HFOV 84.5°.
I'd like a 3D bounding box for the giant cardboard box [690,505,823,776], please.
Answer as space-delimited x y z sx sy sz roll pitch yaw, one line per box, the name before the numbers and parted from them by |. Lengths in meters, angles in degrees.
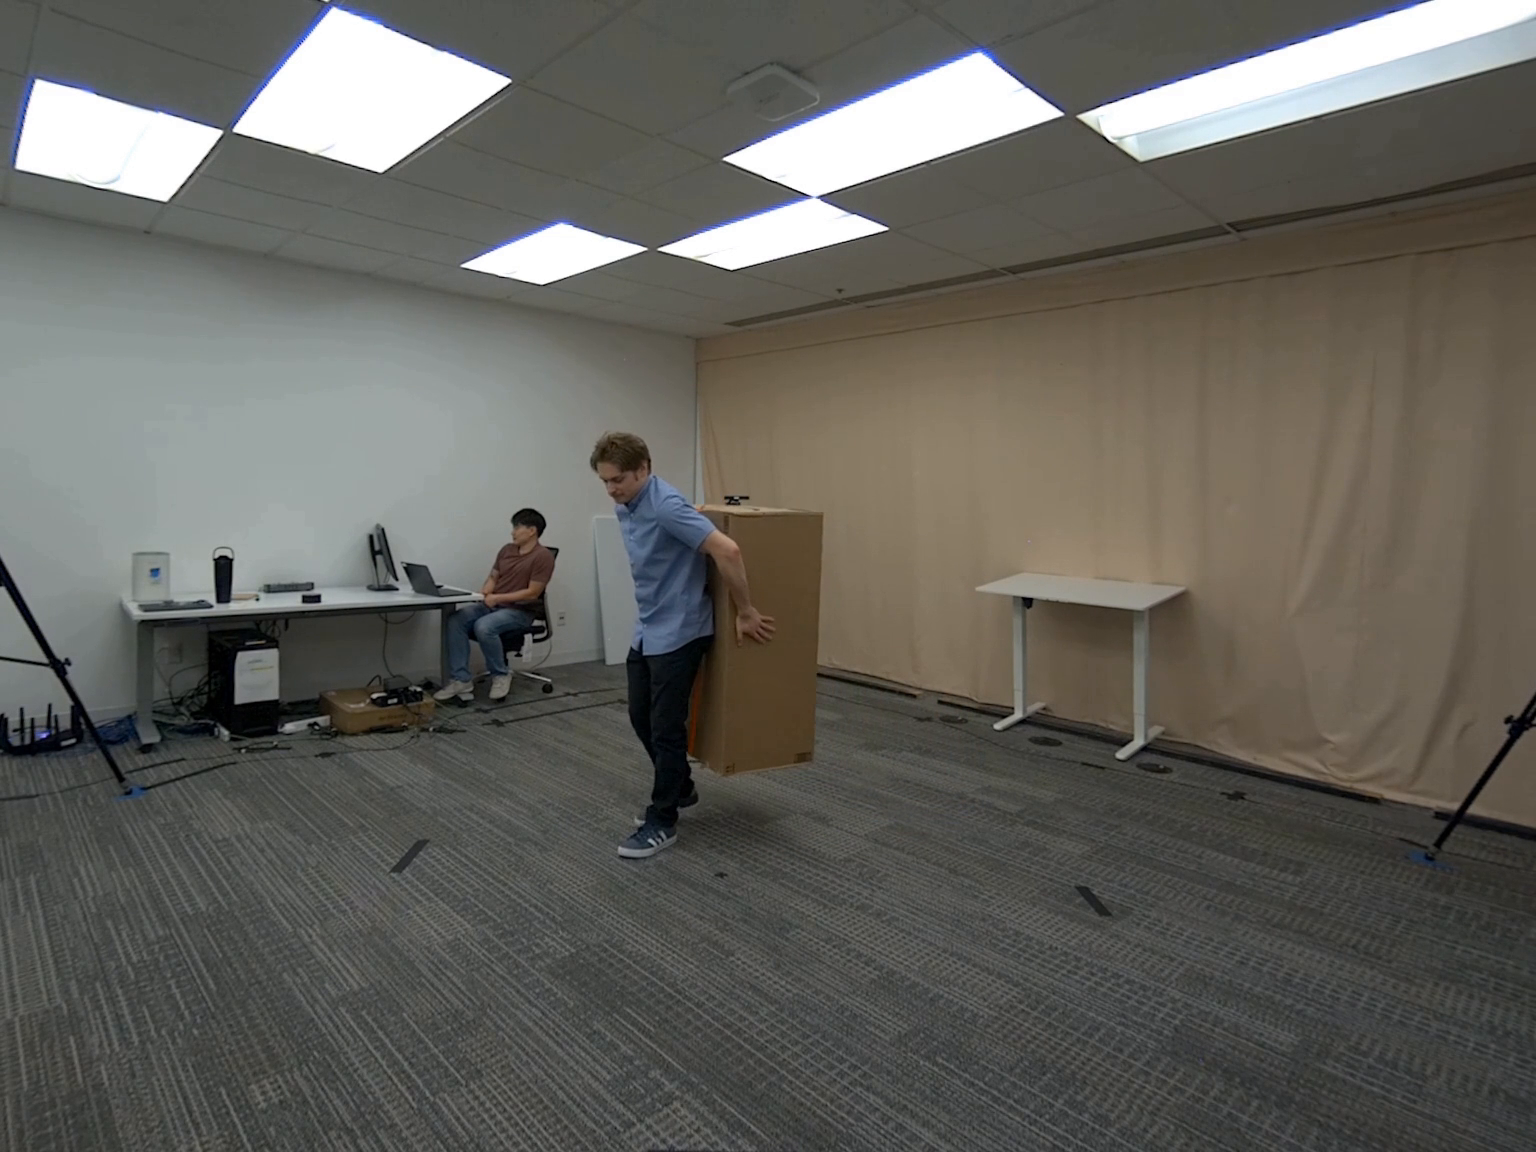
giant cardboard box | -0.125 0.233 3.527 0.438 1.024 0.597 0 5 -29
